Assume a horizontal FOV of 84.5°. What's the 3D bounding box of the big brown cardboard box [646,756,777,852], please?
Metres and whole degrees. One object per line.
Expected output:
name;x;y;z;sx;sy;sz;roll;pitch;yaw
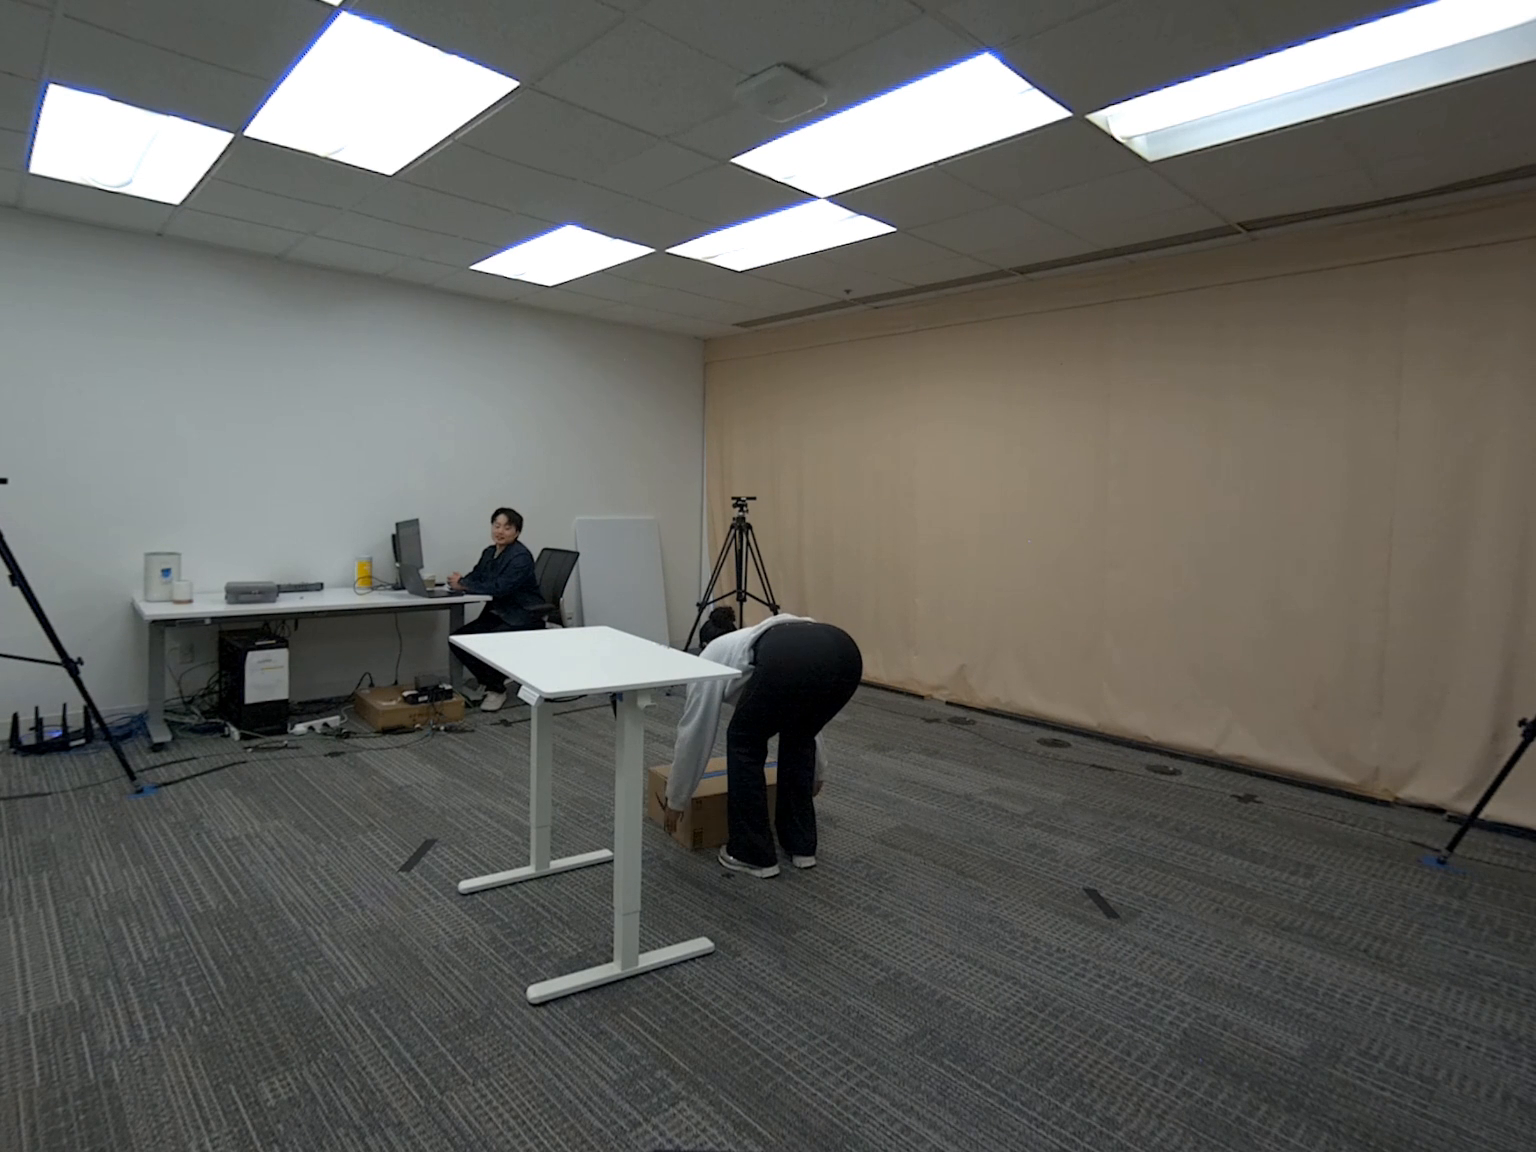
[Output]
big brown cardboard box;-0.184;0.946;3.627;0.577;0.232;0.427;-2;6;-32
